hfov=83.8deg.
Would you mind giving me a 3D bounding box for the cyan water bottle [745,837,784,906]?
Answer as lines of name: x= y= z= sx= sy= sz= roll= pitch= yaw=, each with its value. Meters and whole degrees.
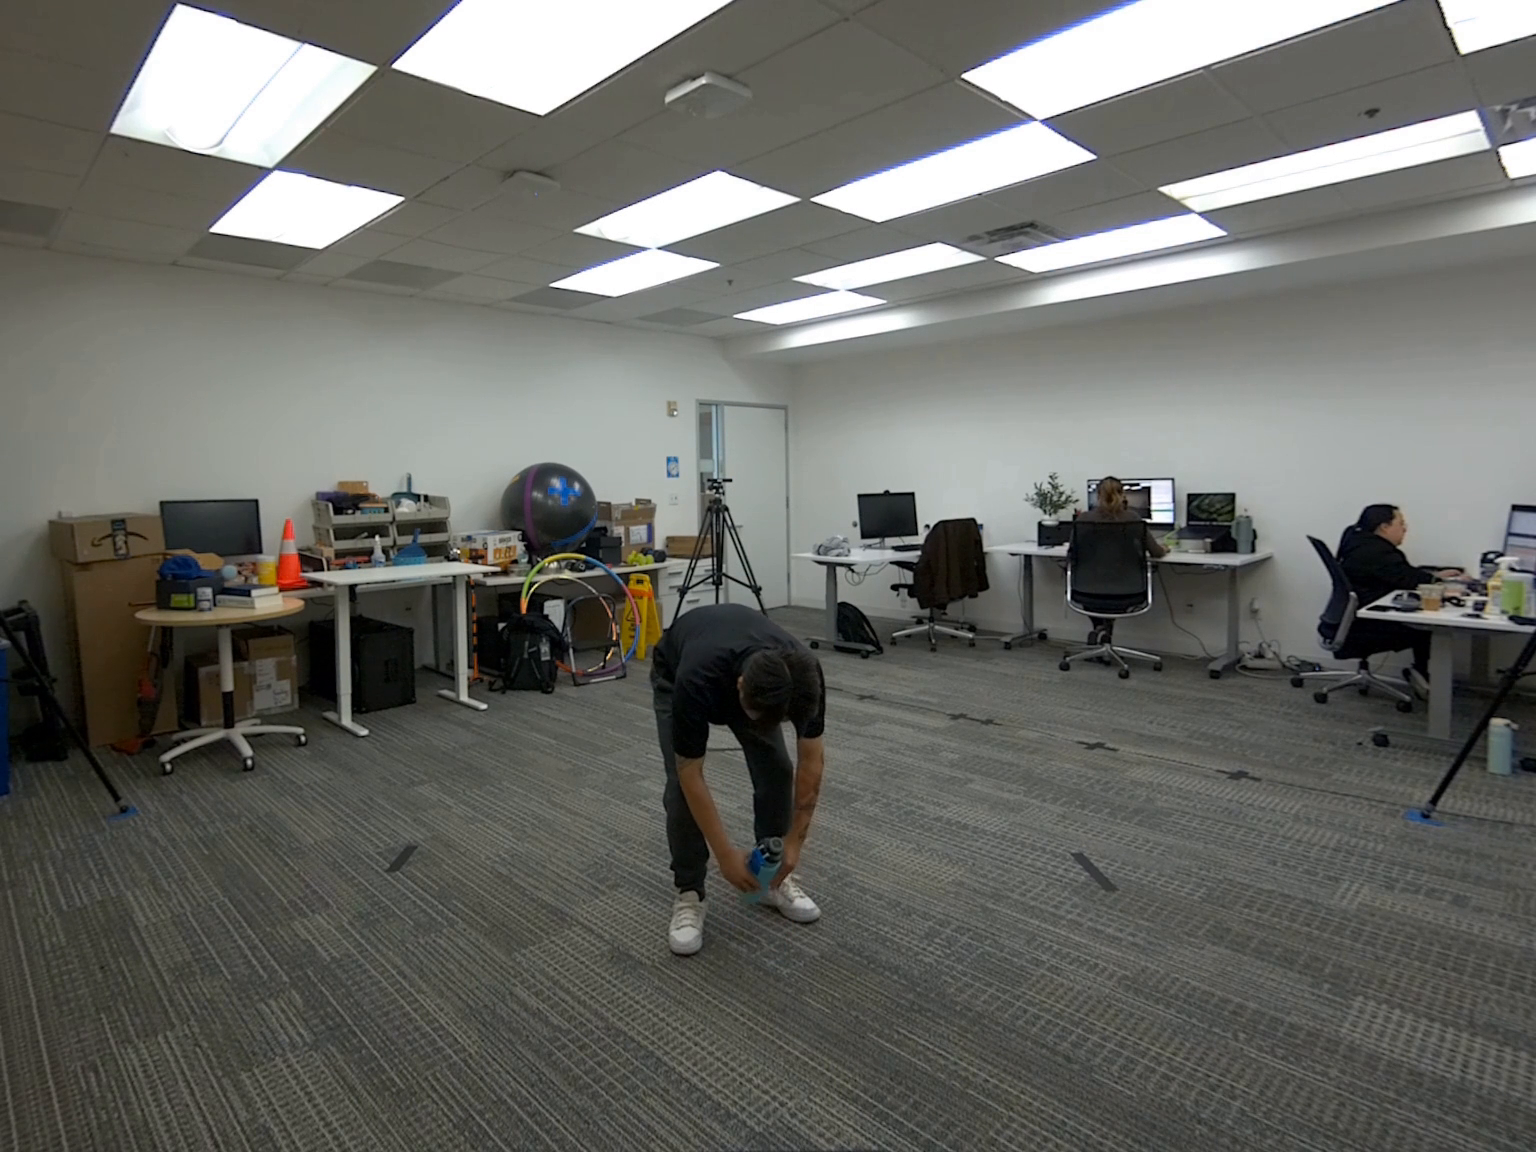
cyan water bottle: x=-0.029 y=0.864 z=2.530 sx=0.091 sy=0.278 sz=0.095 roll=9 pitch=44 yaw=-11
